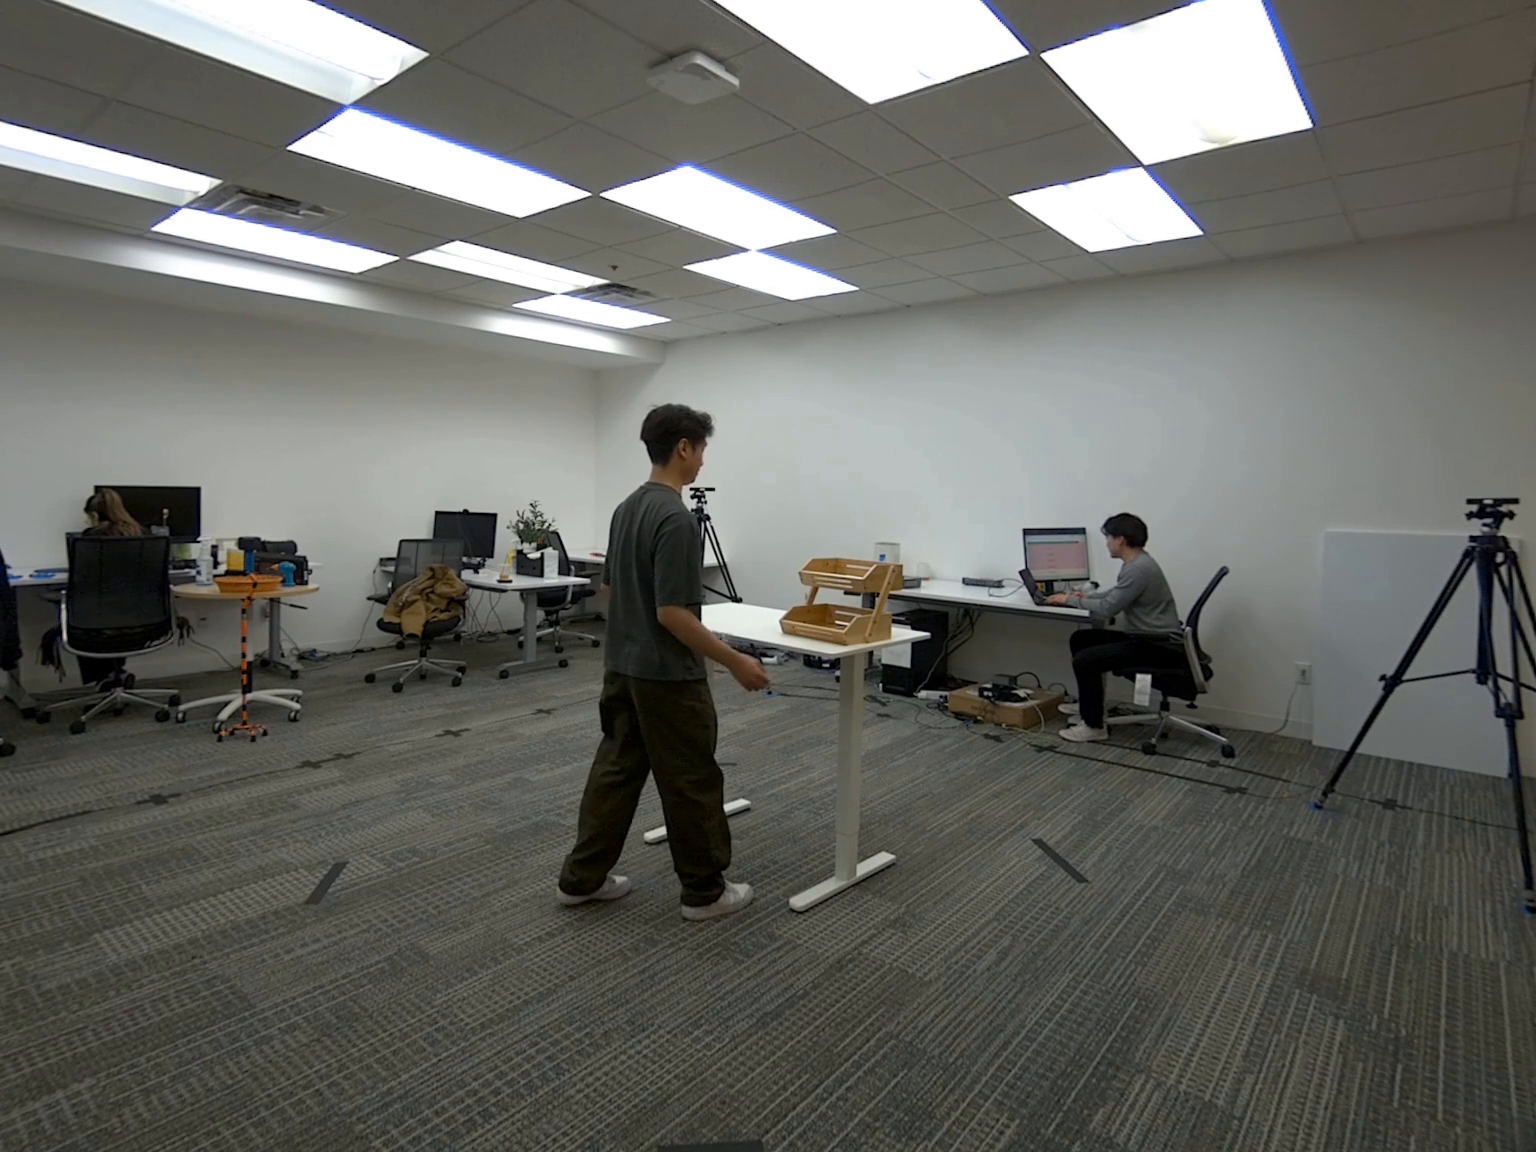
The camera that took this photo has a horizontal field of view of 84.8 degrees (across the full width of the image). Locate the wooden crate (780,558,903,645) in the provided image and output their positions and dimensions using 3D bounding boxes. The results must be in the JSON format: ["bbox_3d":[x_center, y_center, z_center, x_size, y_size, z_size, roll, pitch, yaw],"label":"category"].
[{"bbox_3d":[0.249,0.078,2.990,0.293,0.272,0.336,-3,6,-43],"label":"wooden crate"}]
